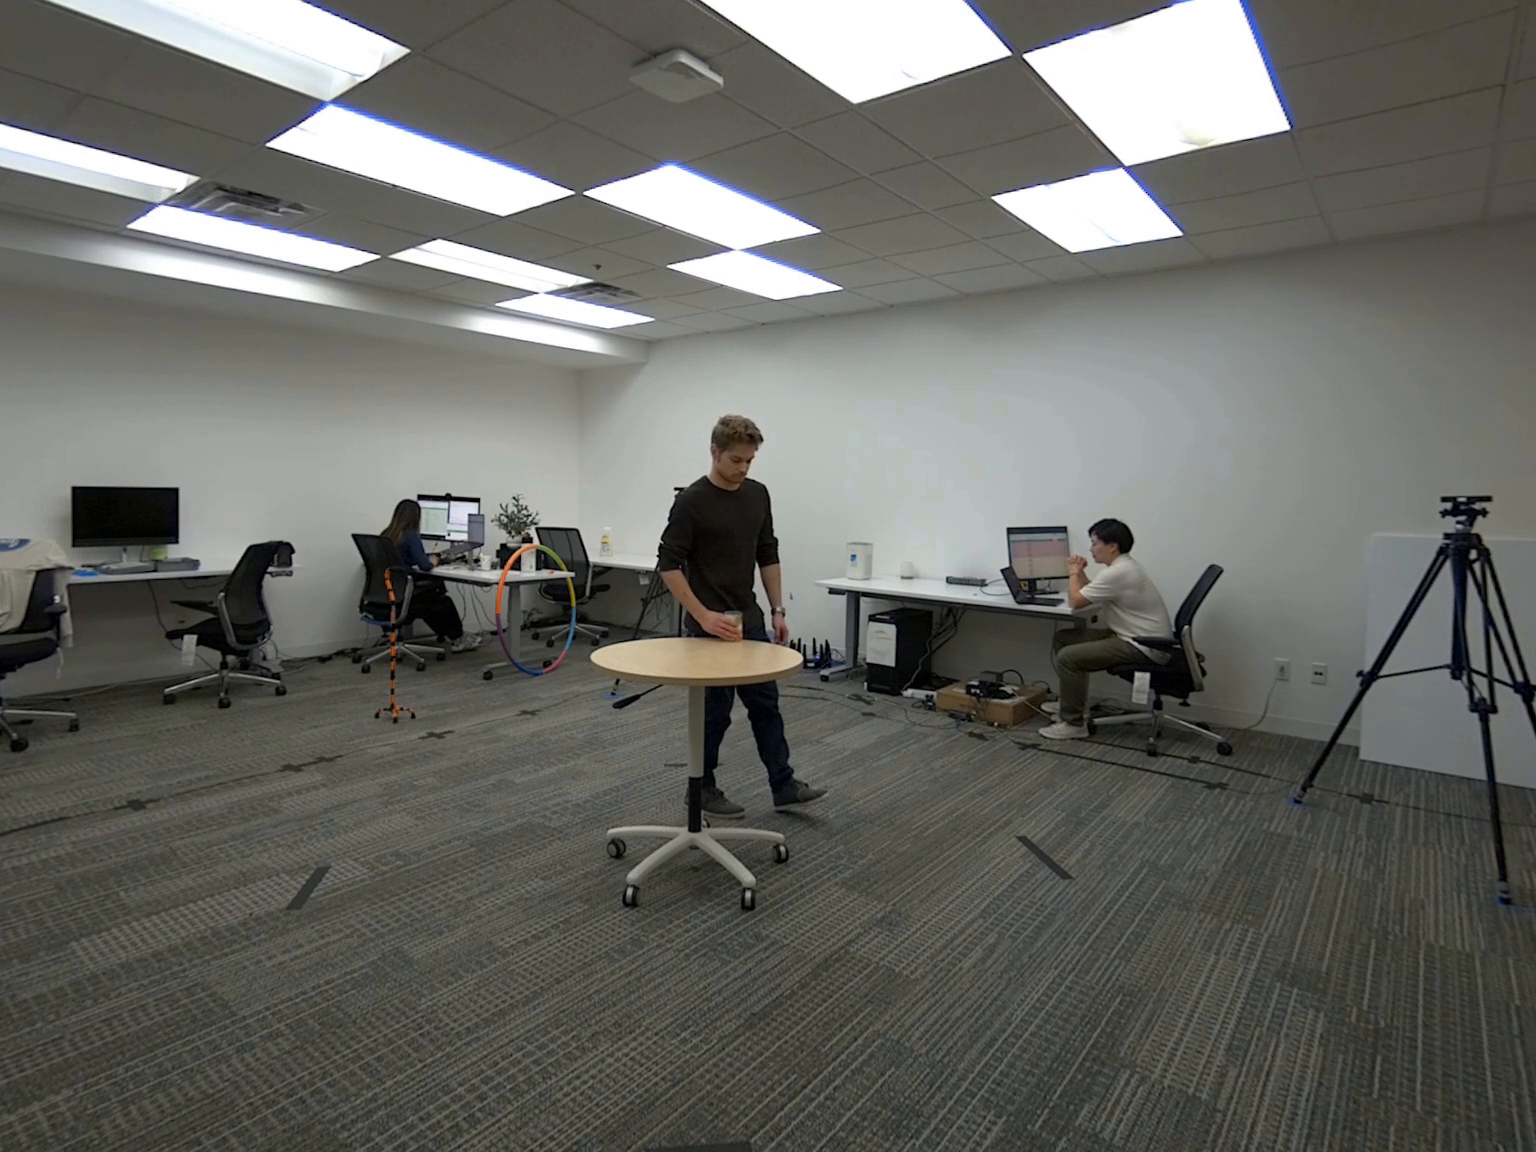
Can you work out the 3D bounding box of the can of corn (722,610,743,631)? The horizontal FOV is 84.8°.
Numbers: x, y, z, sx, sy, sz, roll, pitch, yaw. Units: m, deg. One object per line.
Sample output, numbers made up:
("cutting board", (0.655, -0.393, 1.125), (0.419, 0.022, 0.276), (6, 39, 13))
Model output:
("can of corn", (-0.159, 0.200, 3.392), (0.074, 0.110, 0.075), (-3, 7, -1))
